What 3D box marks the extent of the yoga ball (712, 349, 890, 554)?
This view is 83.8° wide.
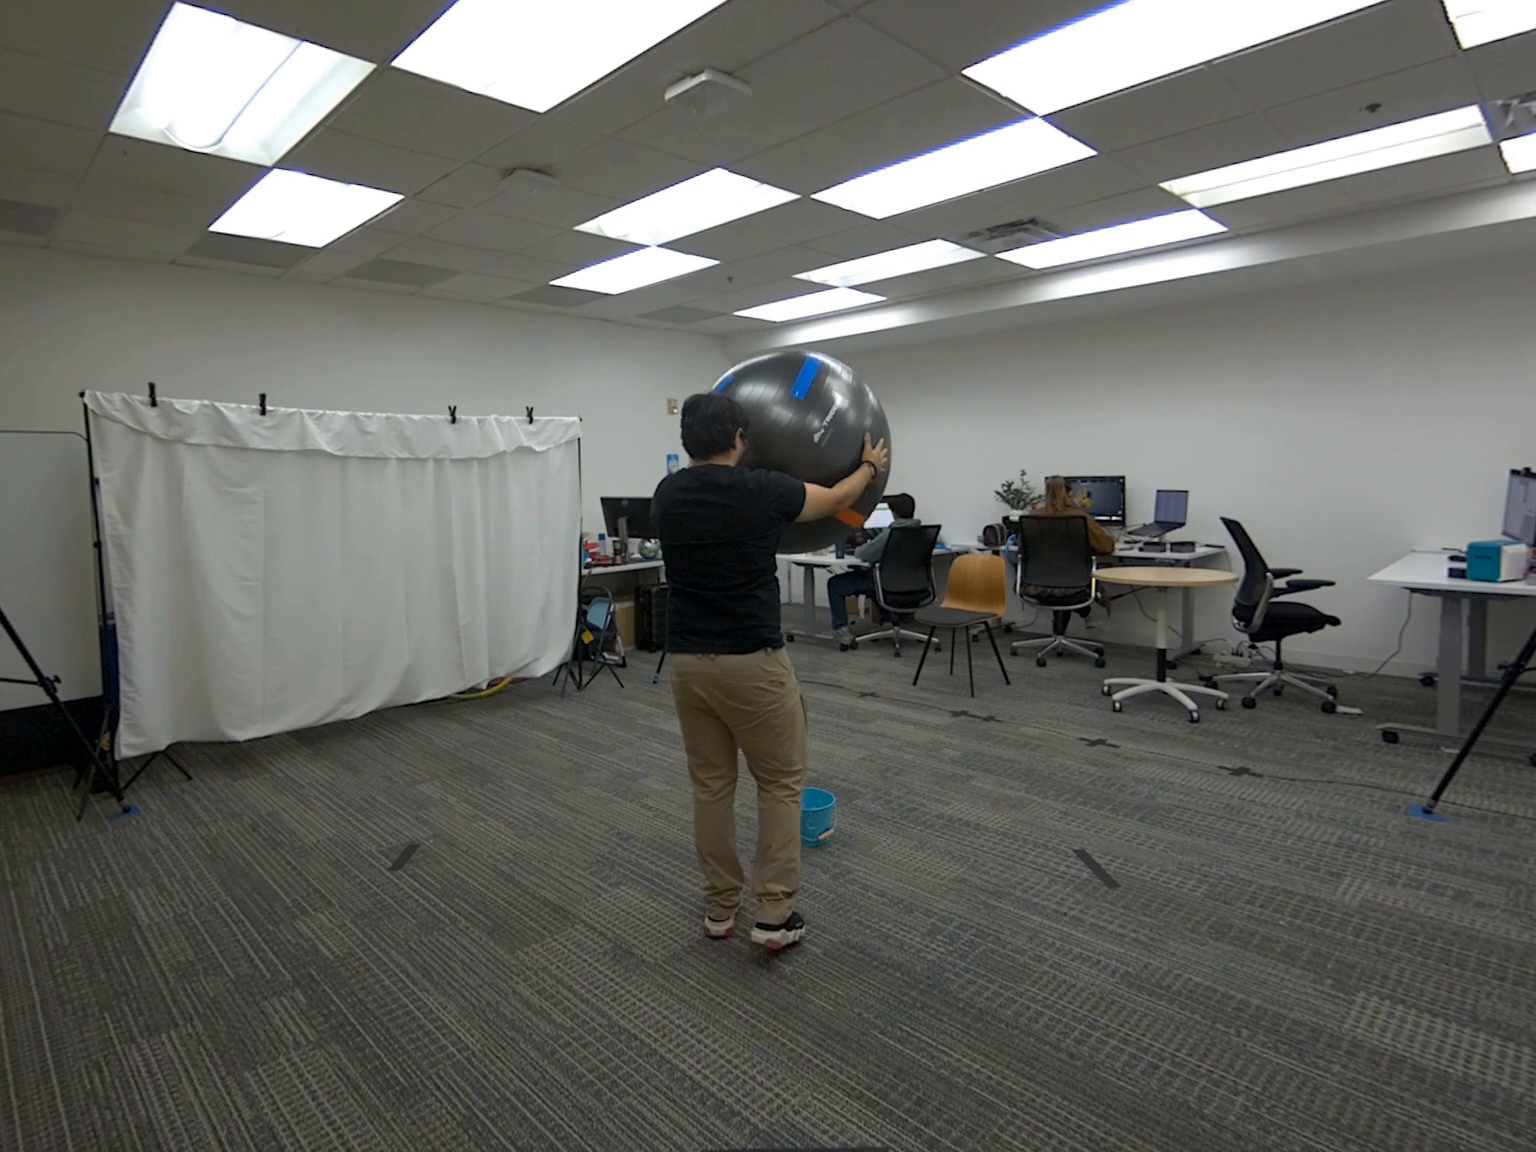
[{"bbox_3d":[0.083,-0.452,3.188,0.757,0.755,0.762,-1,5,-2],"label":"yoga ball"}]
